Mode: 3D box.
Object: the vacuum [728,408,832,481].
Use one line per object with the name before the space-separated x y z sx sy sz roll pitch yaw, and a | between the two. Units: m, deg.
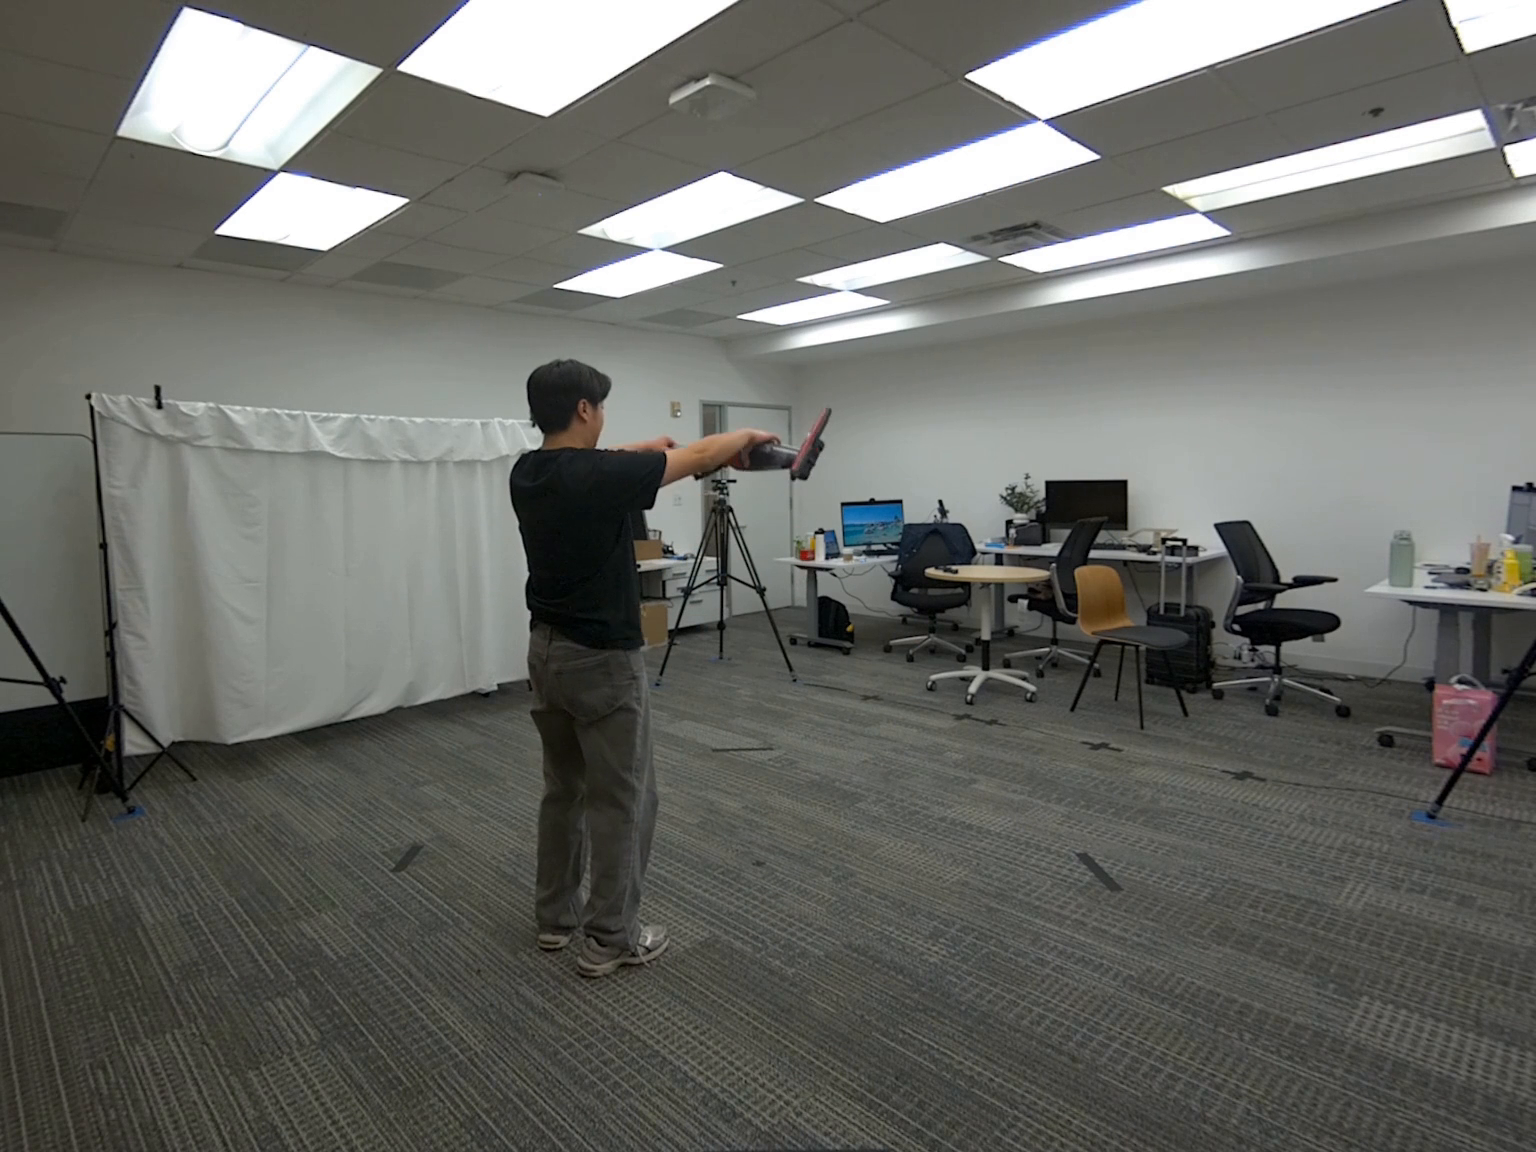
vacuum | -0.248 -0.413 2.963 1.082 0.139 0.253 6 50 47
